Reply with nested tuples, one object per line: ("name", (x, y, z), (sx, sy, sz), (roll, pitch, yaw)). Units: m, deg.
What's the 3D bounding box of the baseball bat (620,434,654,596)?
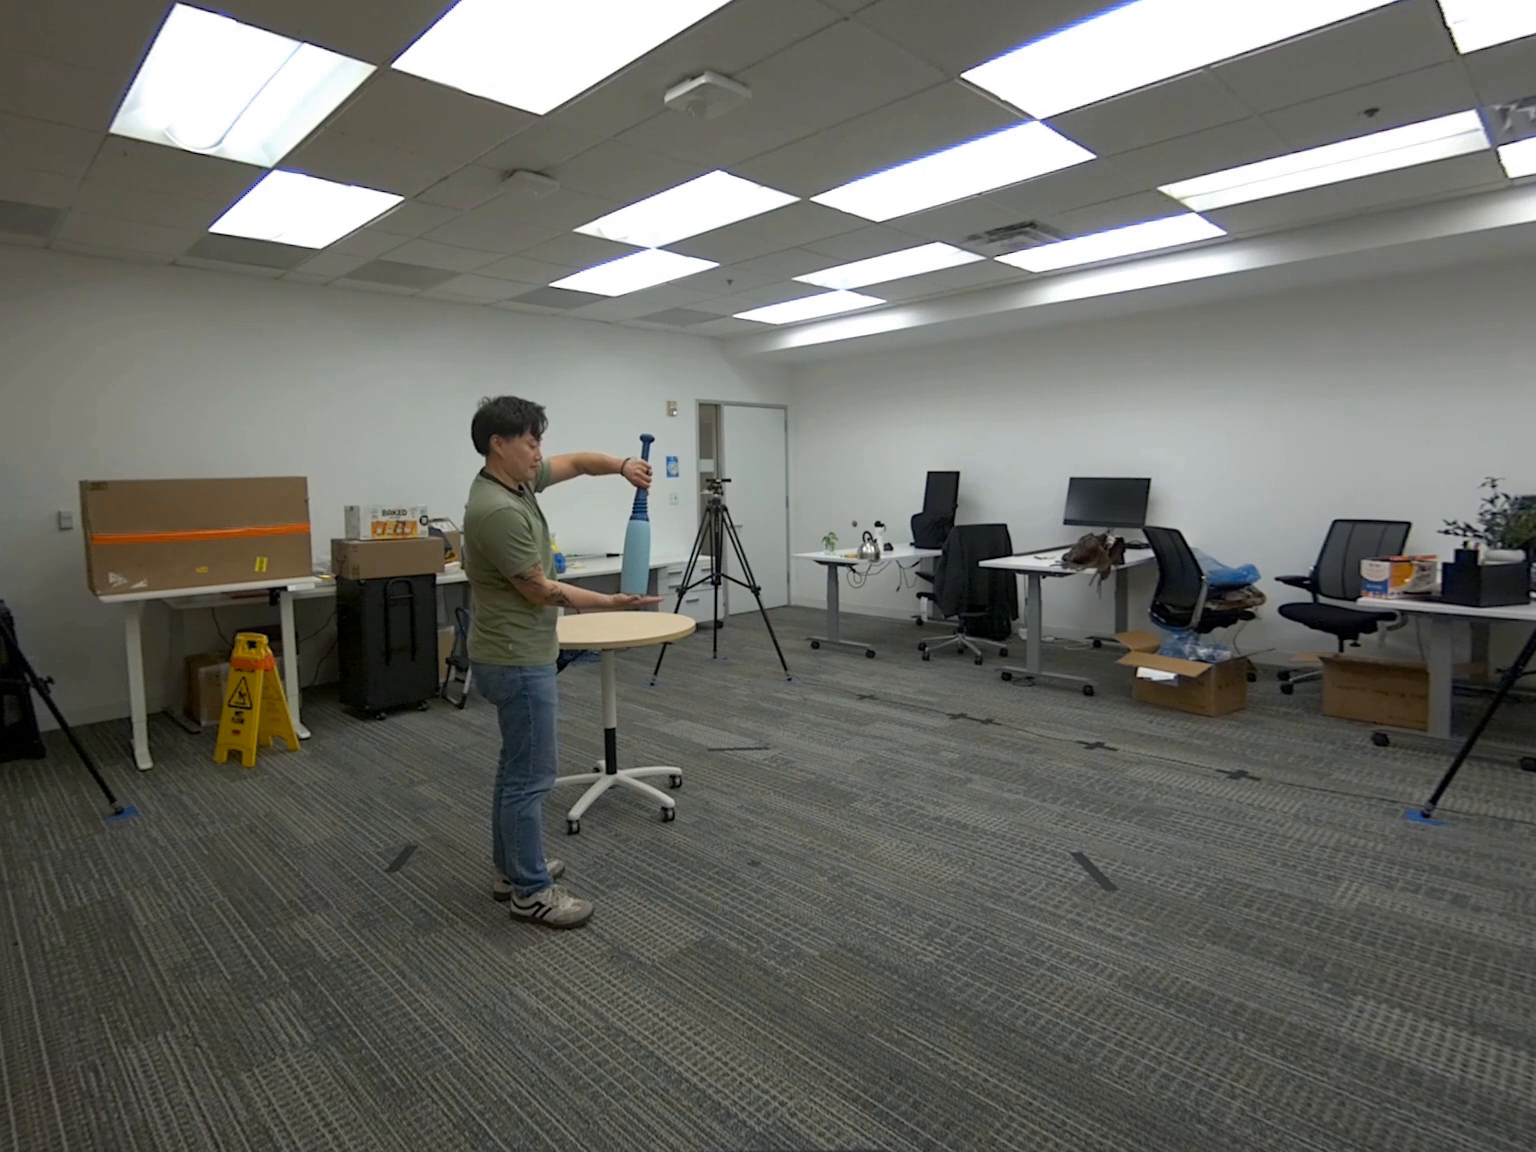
("baseball bat", (-0.427, -0.198, 2.814), (0.089, 0.546, 0.088), (5, -6, -1))
